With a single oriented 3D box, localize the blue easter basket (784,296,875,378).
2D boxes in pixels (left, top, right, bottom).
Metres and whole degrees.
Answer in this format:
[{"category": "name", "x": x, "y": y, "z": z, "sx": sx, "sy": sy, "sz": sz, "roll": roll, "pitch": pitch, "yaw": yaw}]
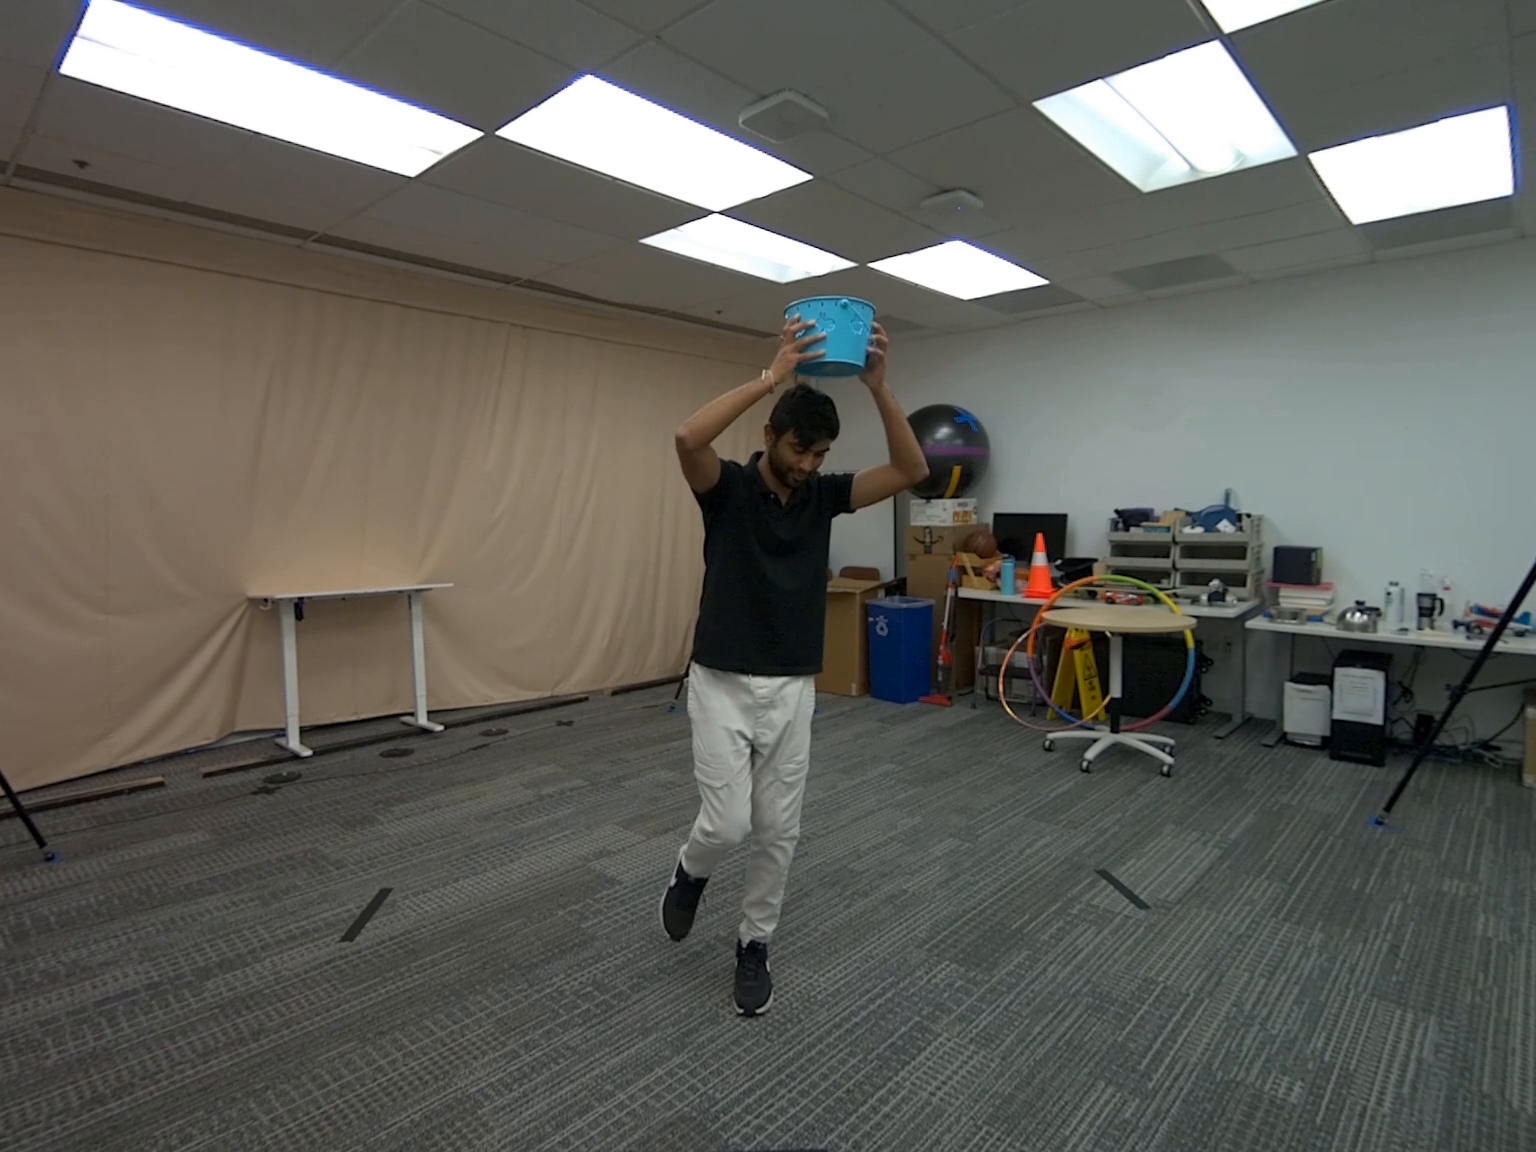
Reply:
[{"category": "blue easter basket", "x": 0.167, "y": -0.603, "z": 2.133, "sx": 0.243, "sy": 0.156, "sz": 0.244, "roll": 3, "pitch": 2, "yaw": -2}]
